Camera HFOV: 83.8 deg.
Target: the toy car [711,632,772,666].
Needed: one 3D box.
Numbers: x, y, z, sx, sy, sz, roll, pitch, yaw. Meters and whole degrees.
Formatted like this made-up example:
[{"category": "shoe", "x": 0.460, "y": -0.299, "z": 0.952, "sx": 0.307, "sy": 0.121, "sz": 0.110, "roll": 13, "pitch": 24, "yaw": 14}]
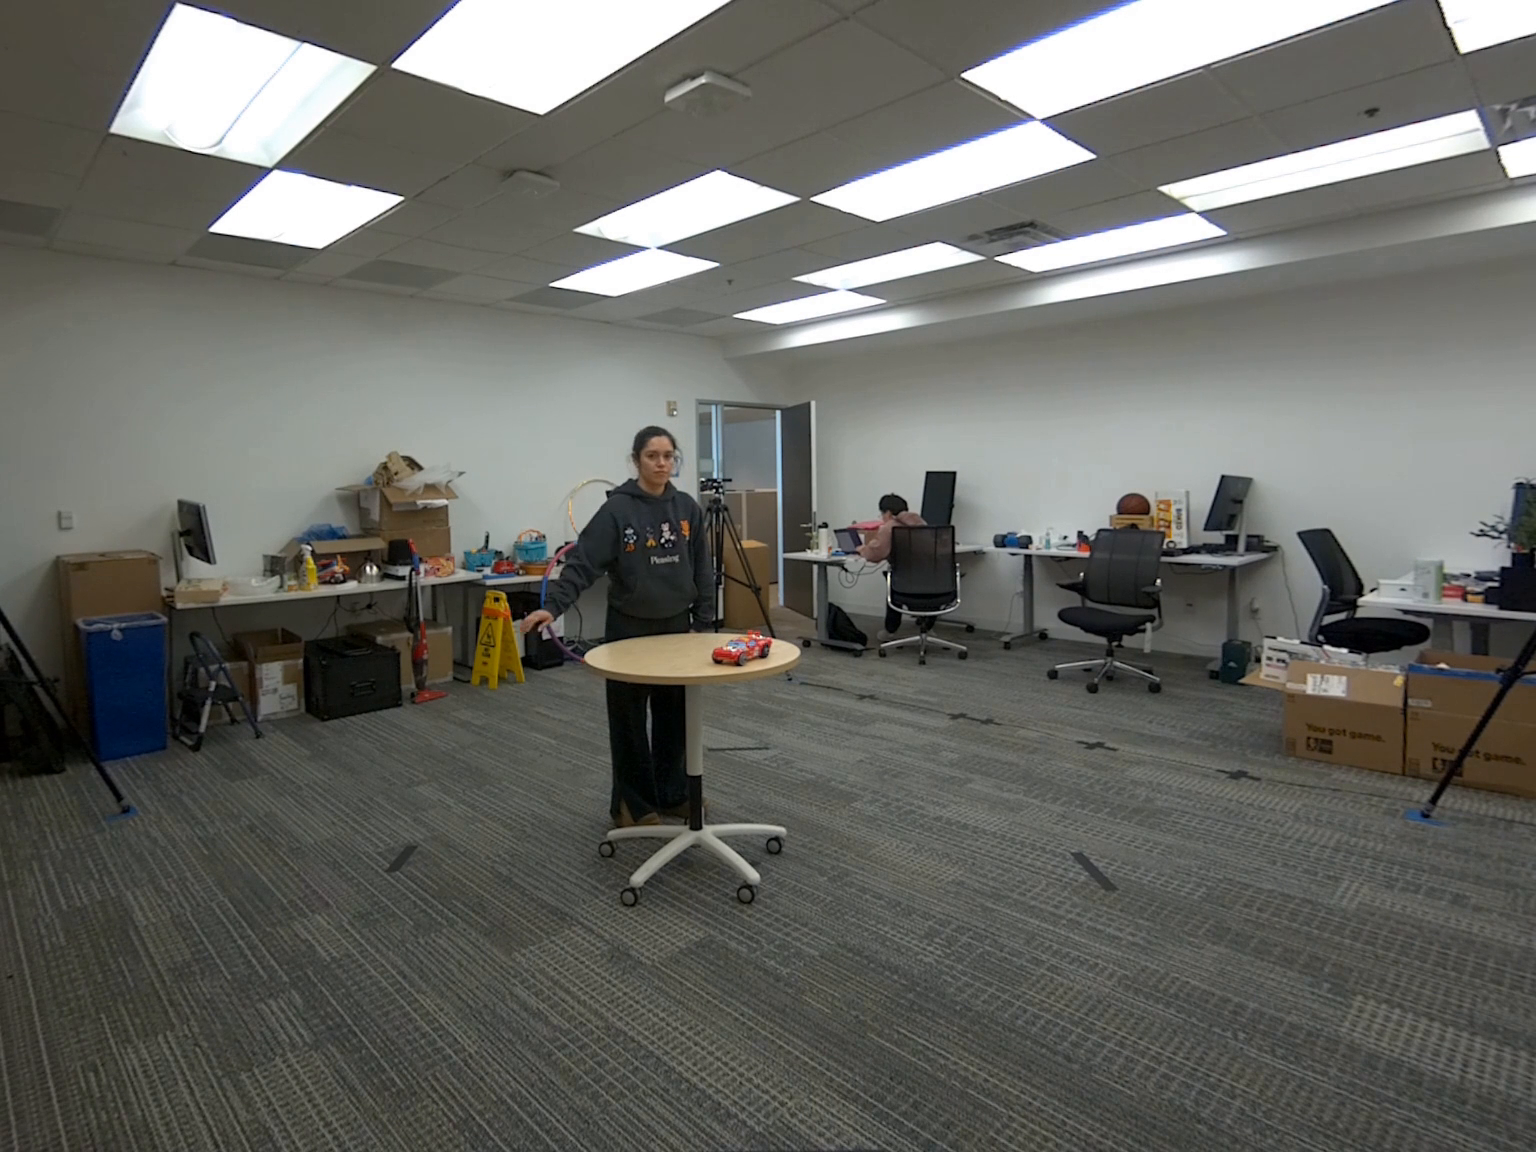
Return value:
[{"category": "toy car", "x": -0.077, "y": 0.253, "z": 2.902, "sx": 0.134, "sy": 0.082, "sz": 0.251, "roll": 2, "pitch": 18, "yaw": 33}]
